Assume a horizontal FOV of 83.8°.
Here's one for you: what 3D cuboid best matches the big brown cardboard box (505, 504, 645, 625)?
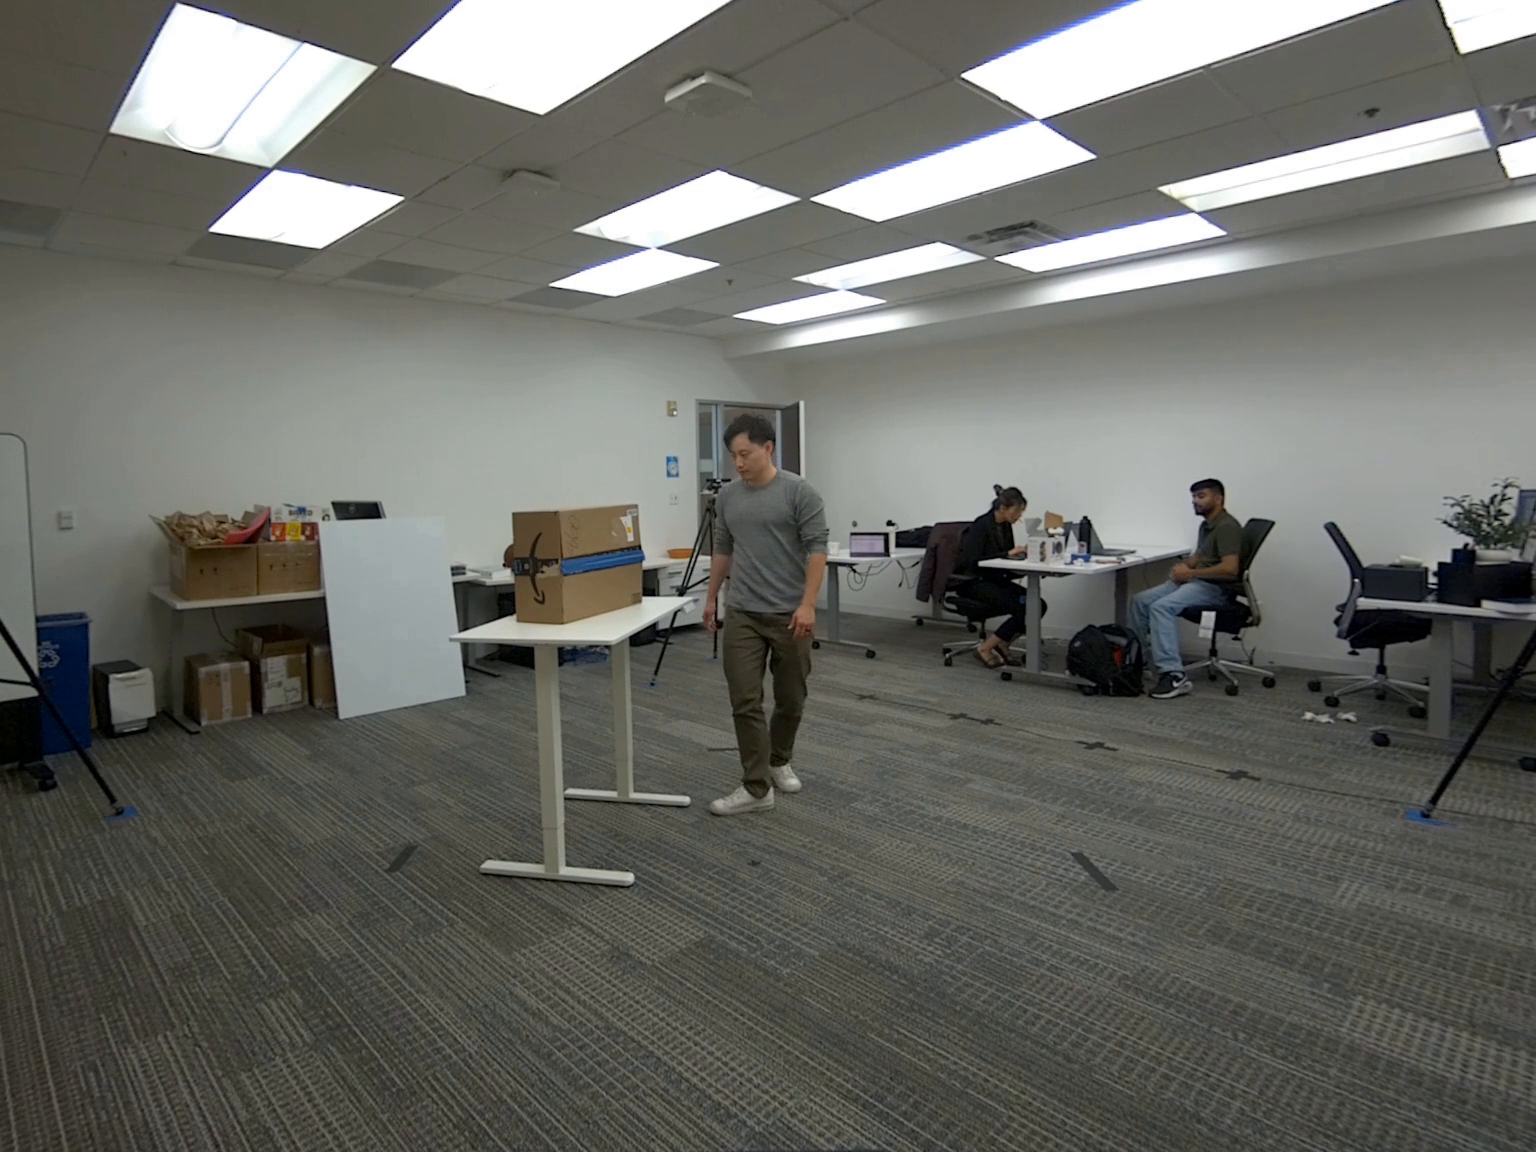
[{"bbox_3d":[-0.740,-0.062,3.399,0.238,0.416,0.578,-1,5,24],"label":"big brown cardboard box"}]
